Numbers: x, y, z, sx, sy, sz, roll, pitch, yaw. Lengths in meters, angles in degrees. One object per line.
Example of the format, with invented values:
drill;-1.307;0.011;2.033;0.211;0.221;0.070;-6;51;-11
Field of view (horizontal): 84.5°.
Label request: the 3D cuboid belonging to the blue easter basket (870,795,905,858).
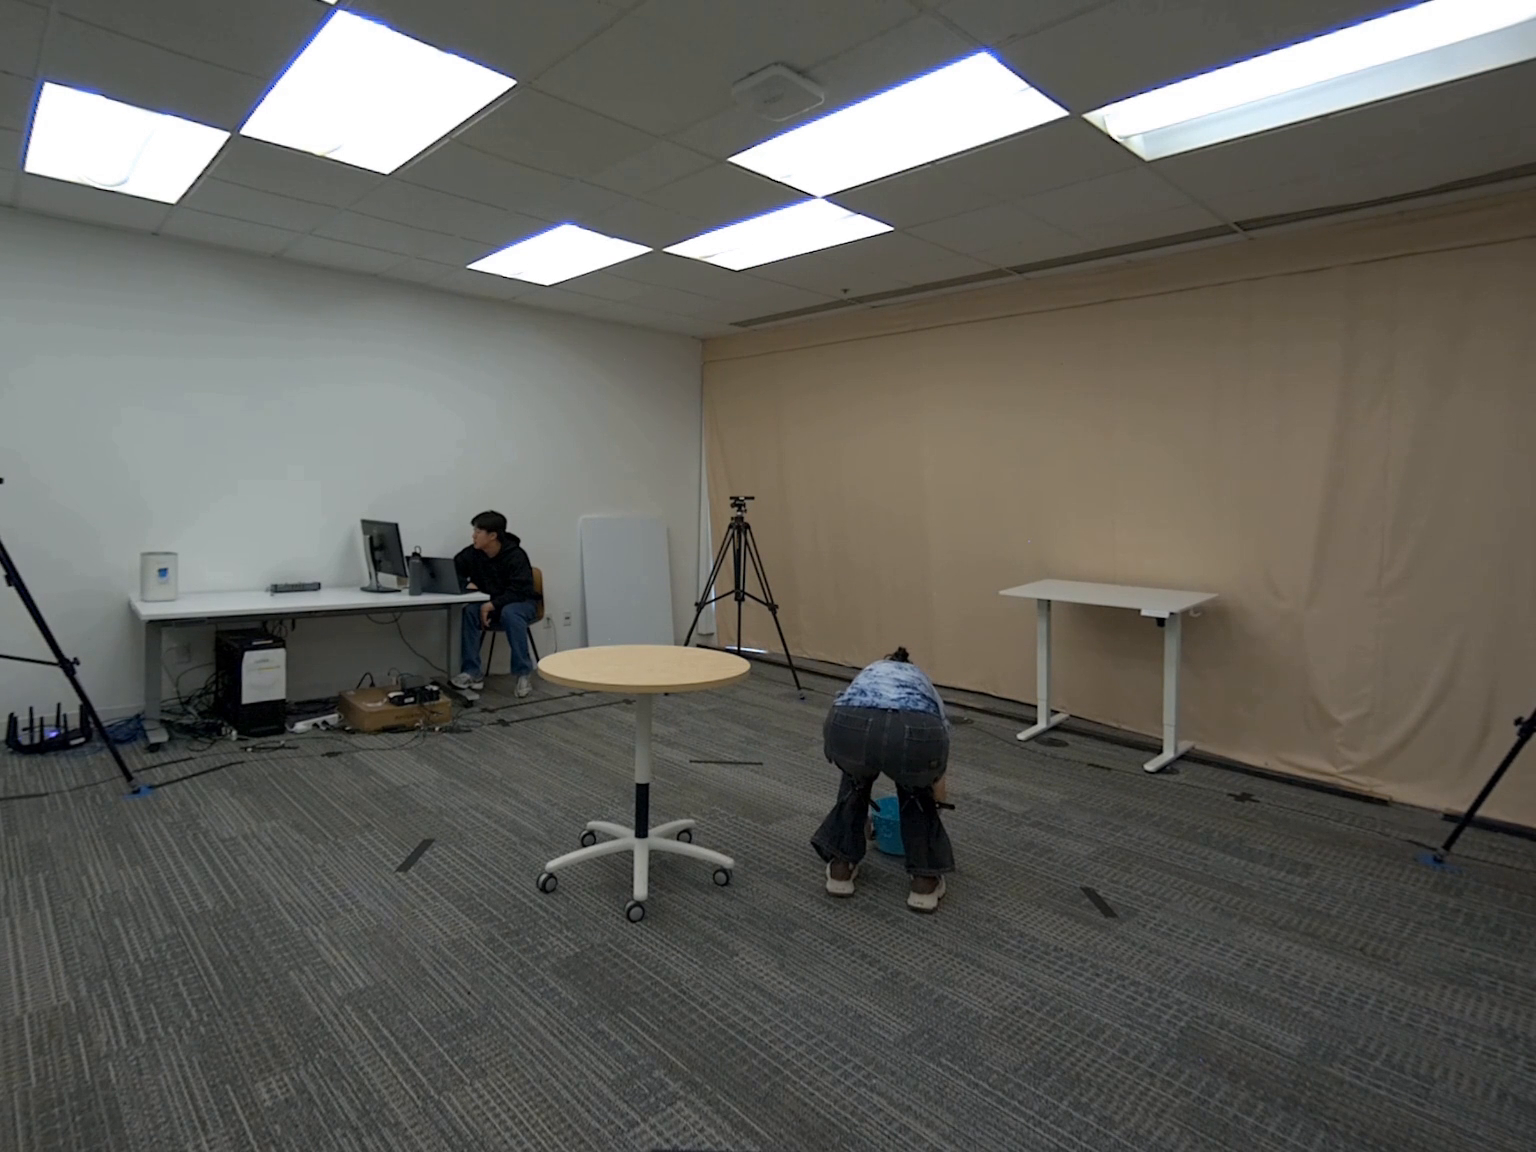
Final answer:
blue easter basket;0.503;0.998;3.379;0.243;0.155;0.245;-1;9;-1
